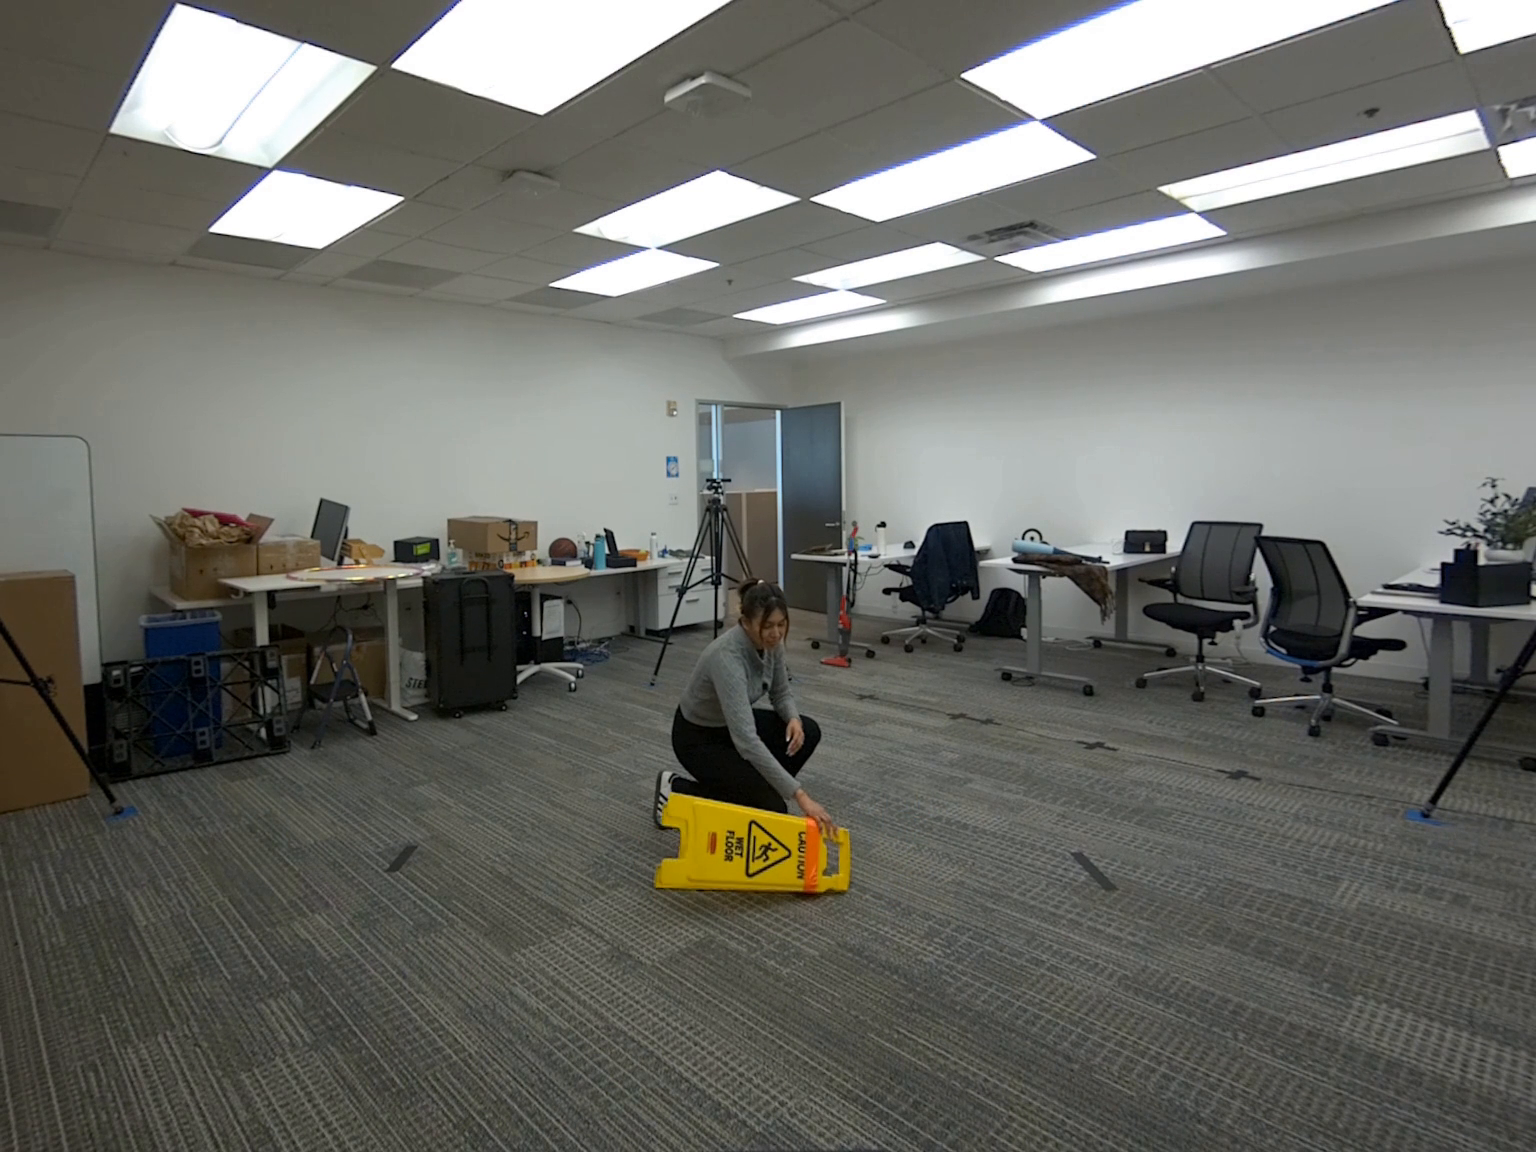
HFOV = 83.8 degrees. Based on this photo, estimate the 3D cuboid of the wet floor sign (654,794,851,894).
[{"bbox_3d":[-0.037,0.929,2.888,0.643,0.287,0.286,7,-23,-5],"label":"wet floor sign"}]
